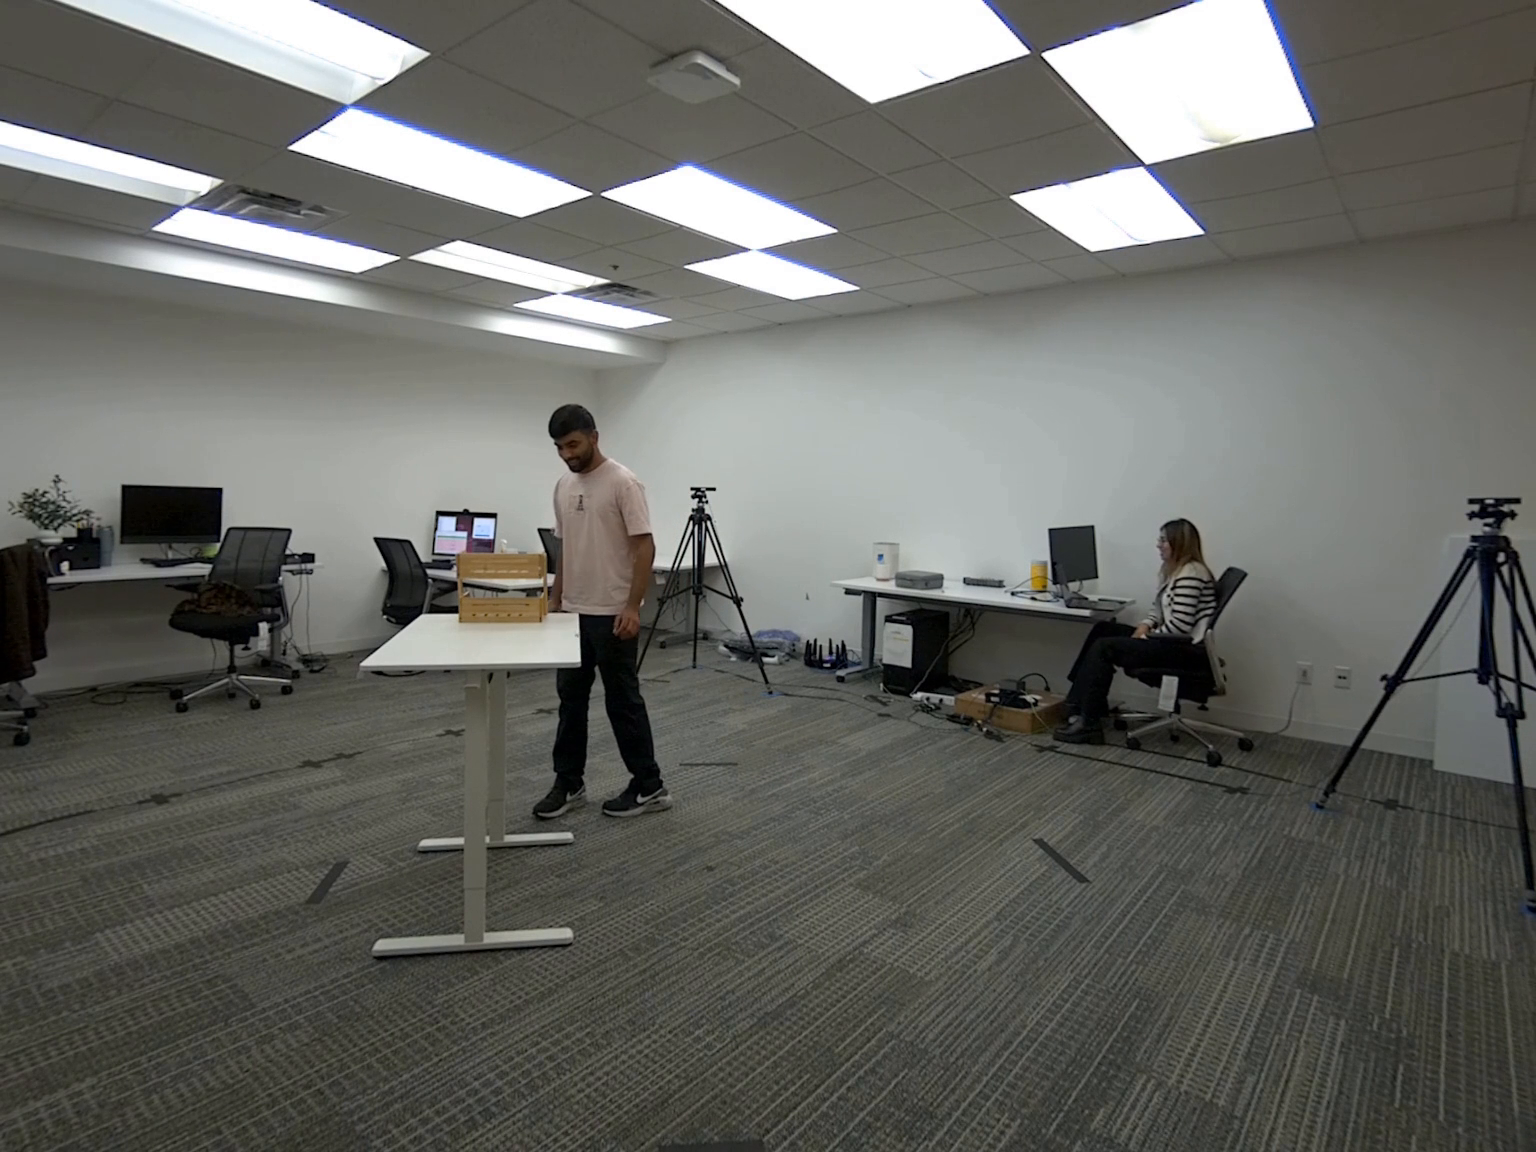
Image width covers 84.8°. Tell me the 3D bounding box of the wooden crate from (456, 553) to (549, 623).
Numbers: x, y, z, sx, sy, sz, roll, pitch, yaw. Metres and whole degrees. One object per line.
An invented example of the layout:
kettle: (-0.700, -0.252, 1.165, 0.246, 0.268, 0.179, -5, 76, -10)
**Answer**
wooden crate: (-1.034, 0.032, 3.234, 0.321, 0.272, 0.306, 0, 4, -10)
